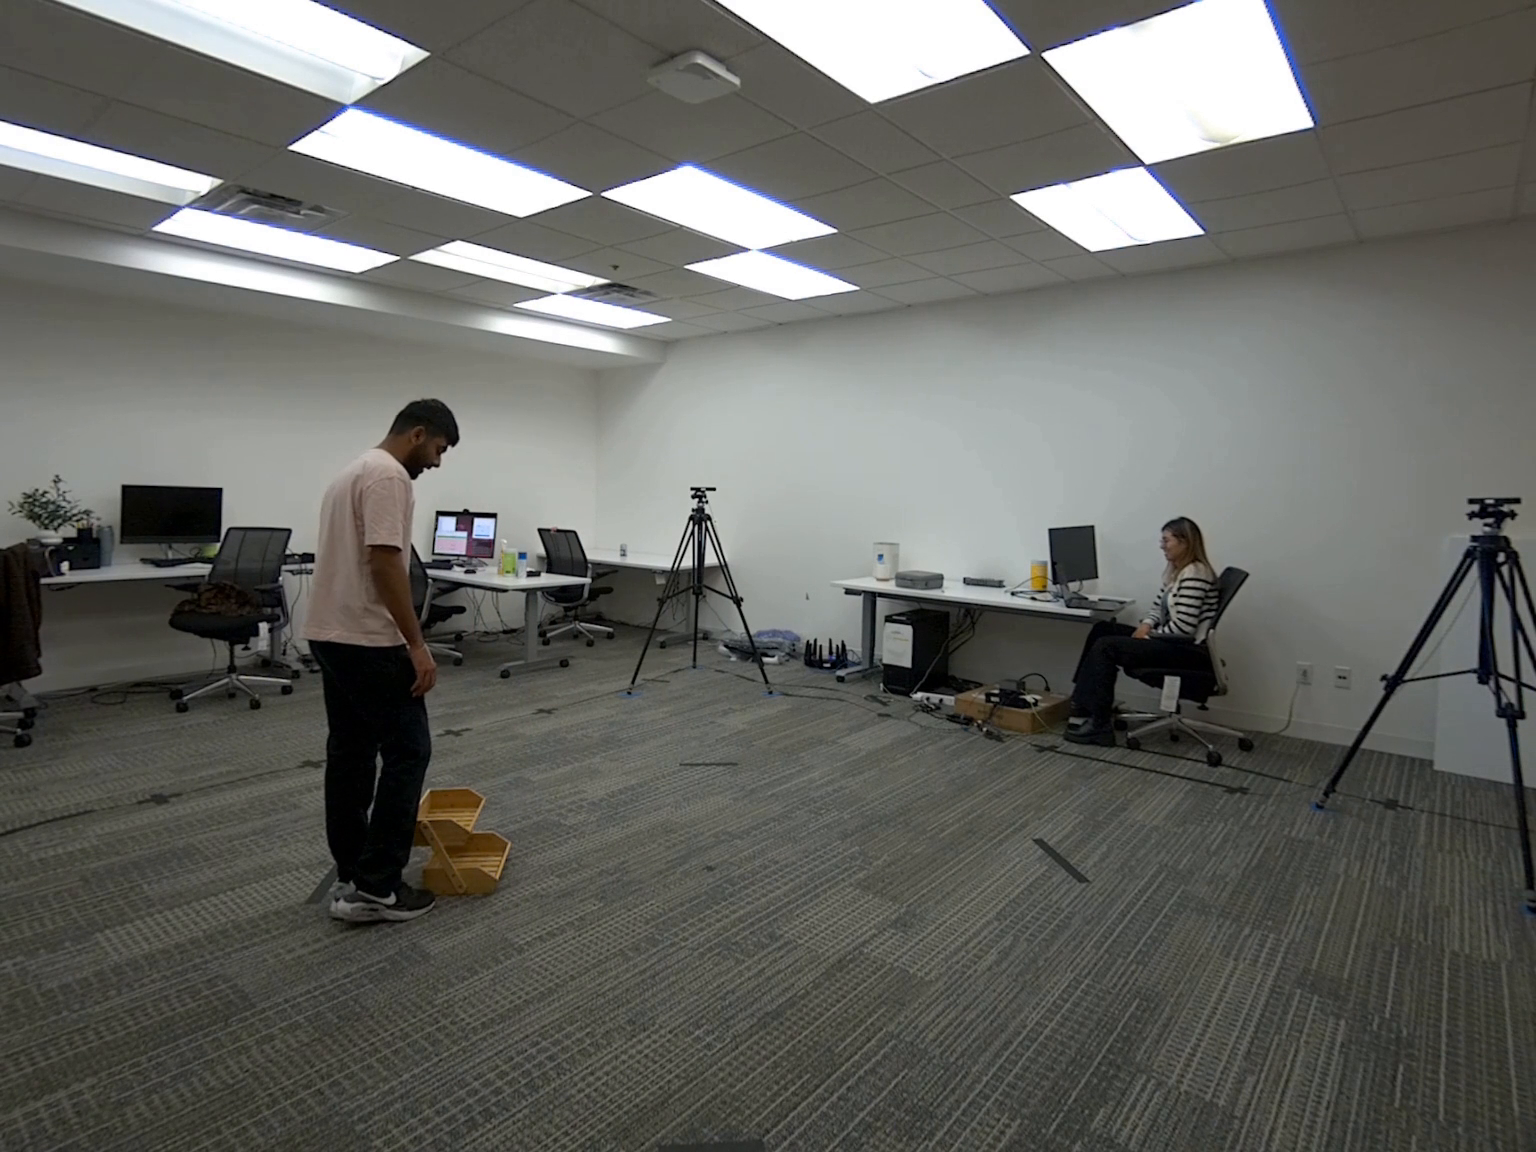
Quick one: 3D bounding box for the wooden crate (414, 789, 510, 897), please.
[{"bbox_3d":[-1.094,0.928,3.016,0.300,0.272,0.328,-1,5,-8],"label":"wooden crate"}]
